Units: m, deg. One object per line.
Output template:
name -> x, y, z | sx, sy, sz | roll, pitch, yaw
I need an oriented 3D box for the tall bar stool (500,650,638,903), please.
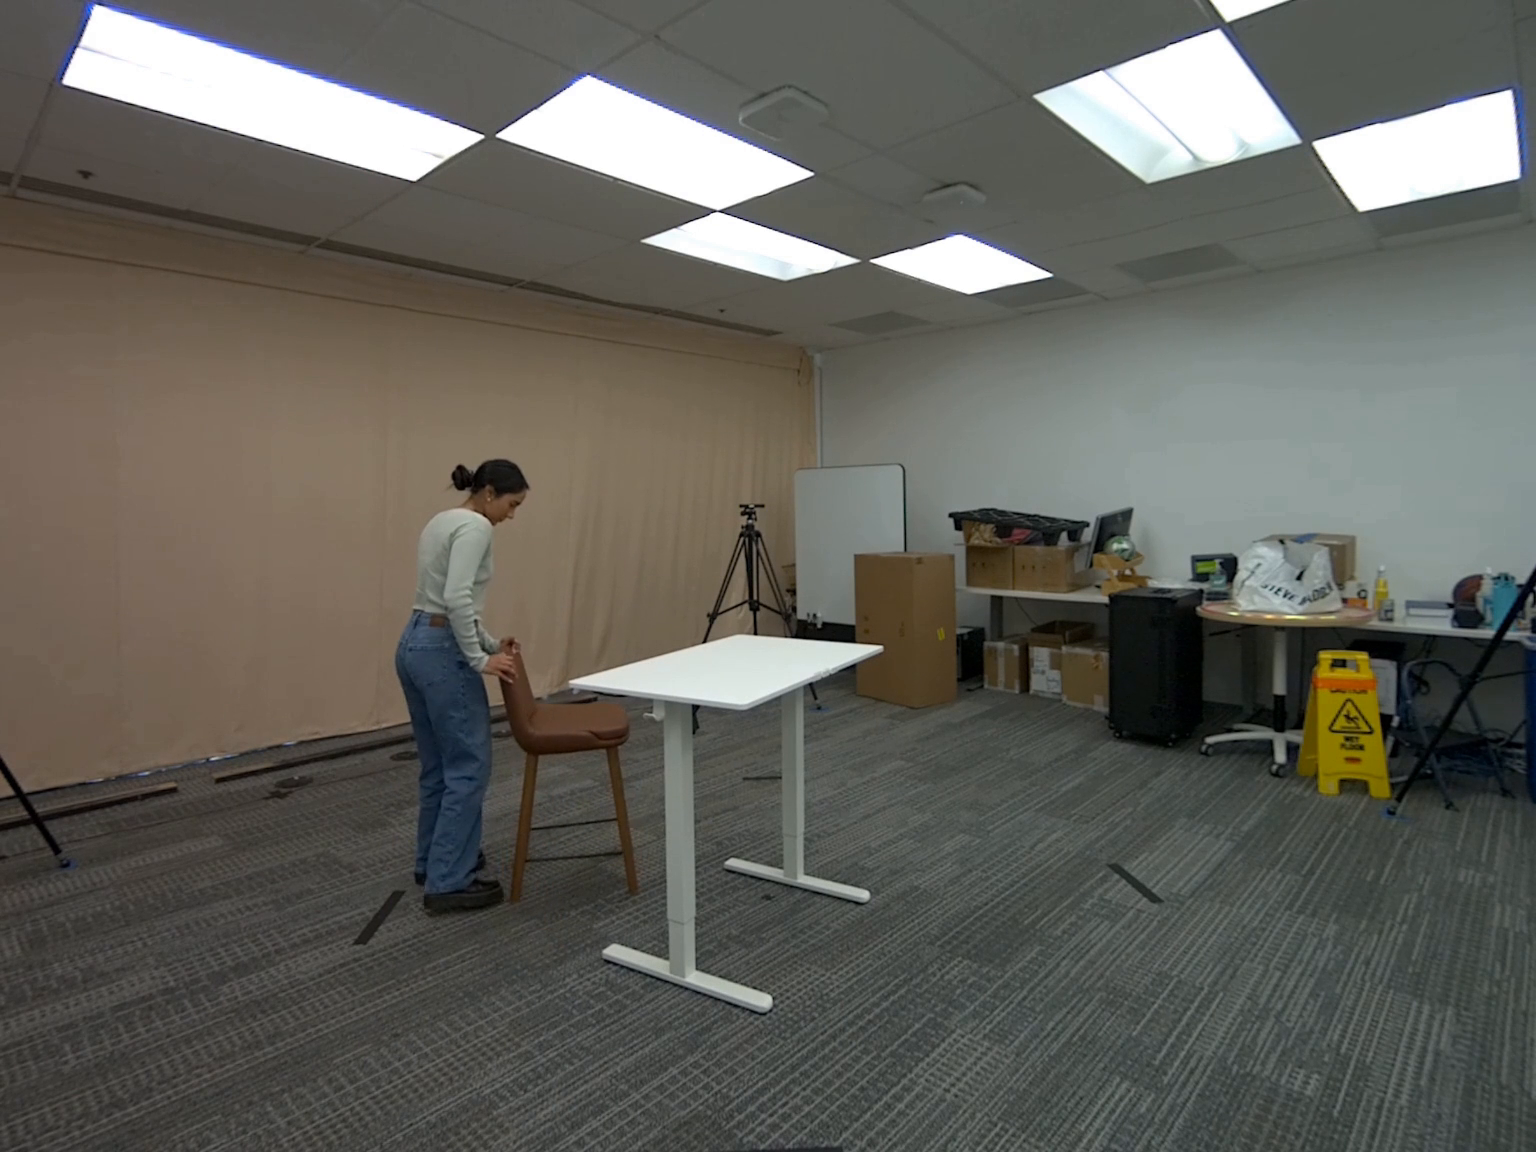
tall bar stool -> -0.753, 0.705, 3.177 | 0.463, 0.888, 0.462 | -4, 3, -10
